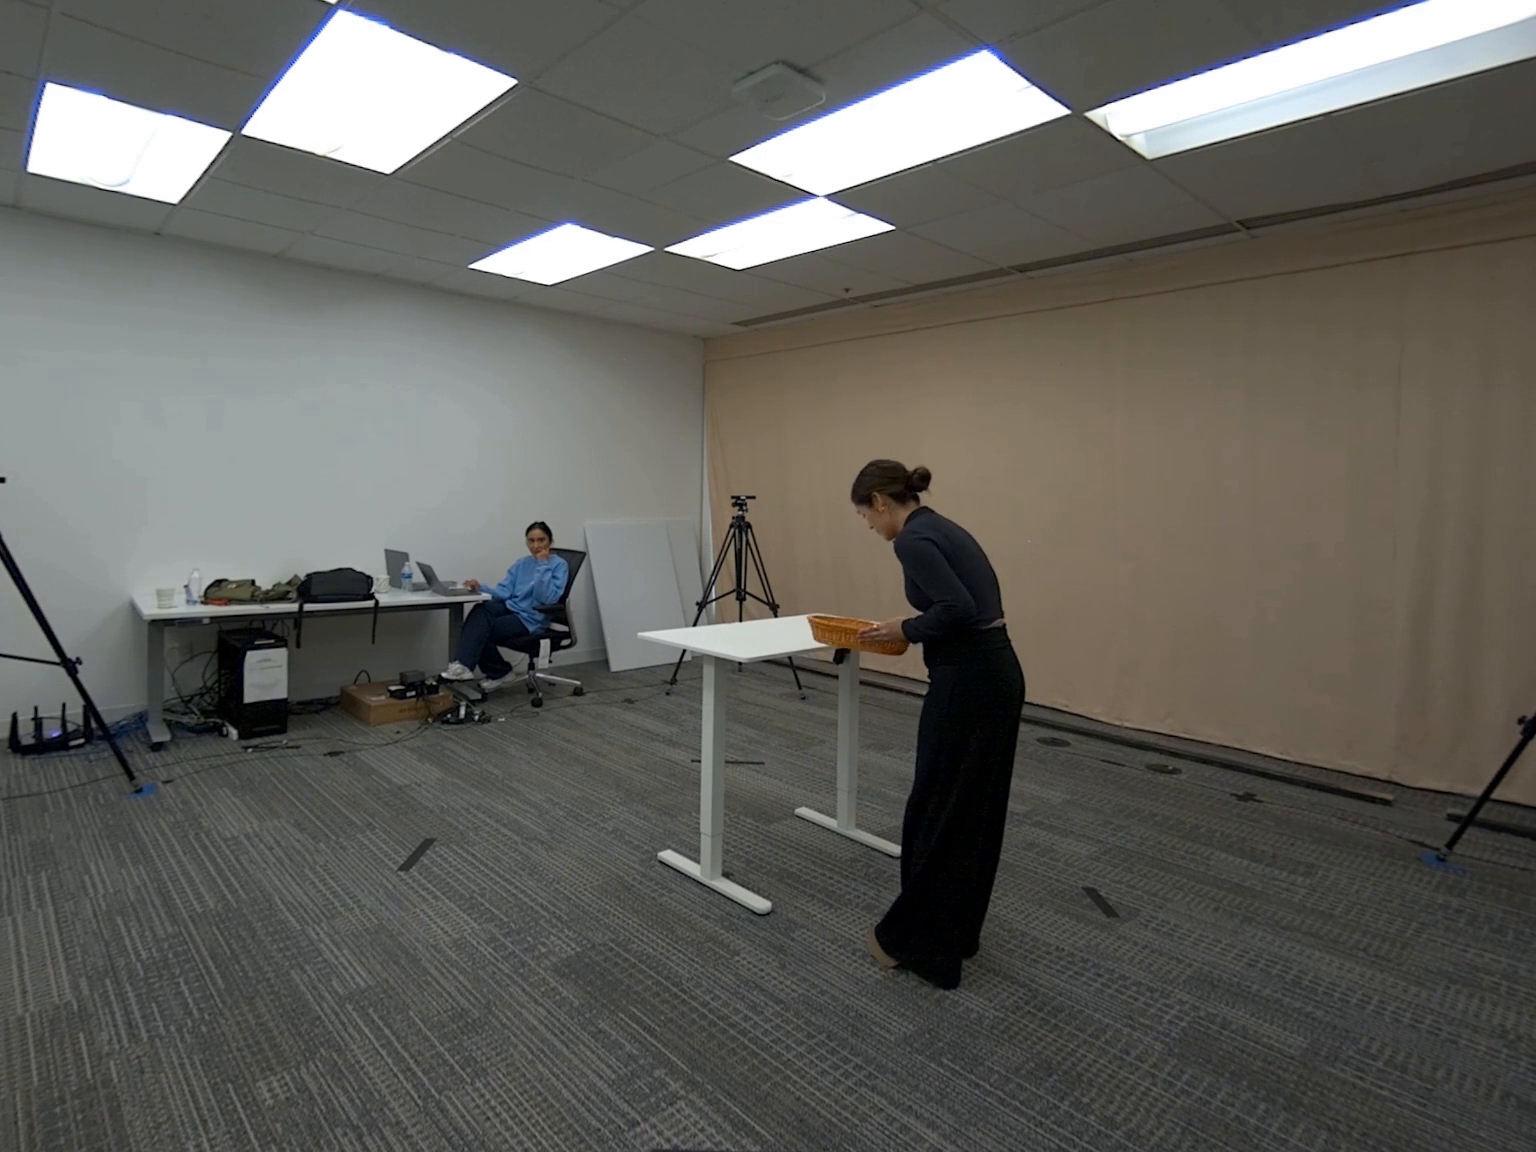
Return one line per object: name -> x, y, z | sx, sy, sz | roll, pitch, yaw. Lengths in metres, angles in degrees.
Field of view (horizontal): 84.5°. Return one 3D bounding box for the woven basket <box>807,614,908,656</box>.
woven basket -> 0.268, 0.183, 2.610 | 0.353, 0.073, 0.251 | 5, 3, 7
